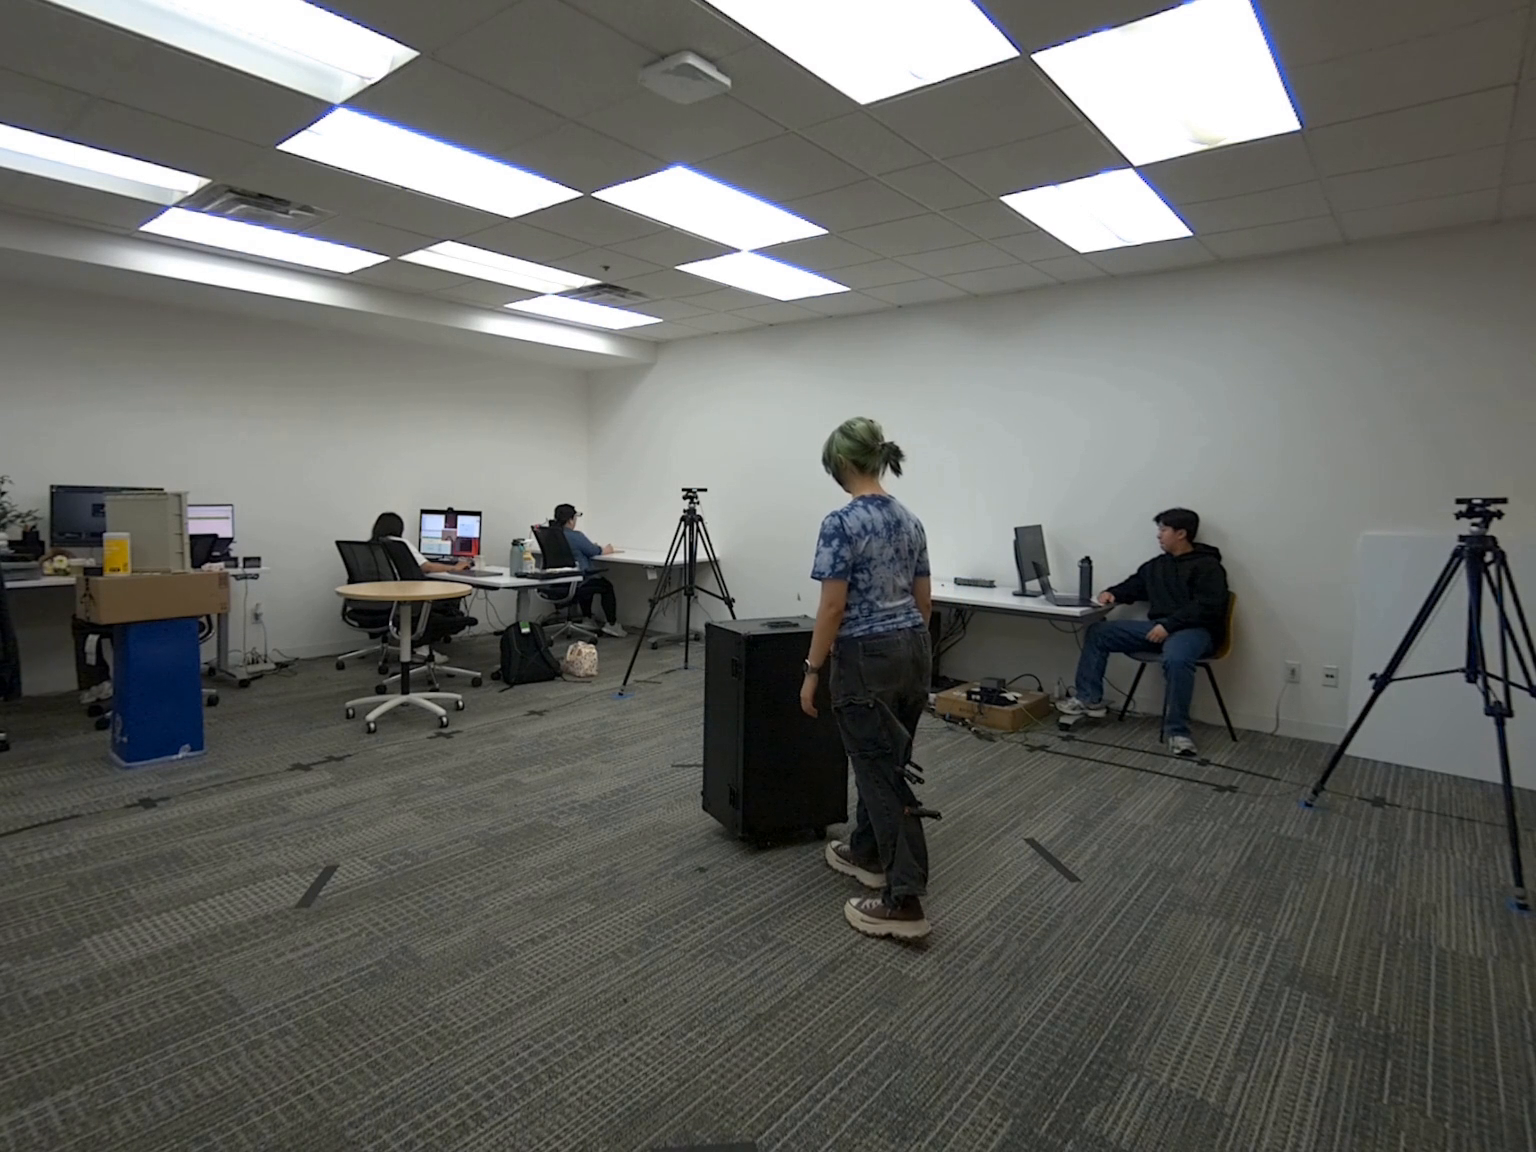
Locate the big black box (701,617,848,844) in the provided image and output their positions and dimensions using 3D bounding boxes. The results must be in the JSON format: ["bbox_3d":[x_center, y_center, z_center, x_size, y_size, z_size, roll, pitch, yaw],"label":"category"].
[{"bbox_3d":[0.018,0.555,3.444,0.508,0.859,0.407,-1,4,-28],"label":"big black box"}]
